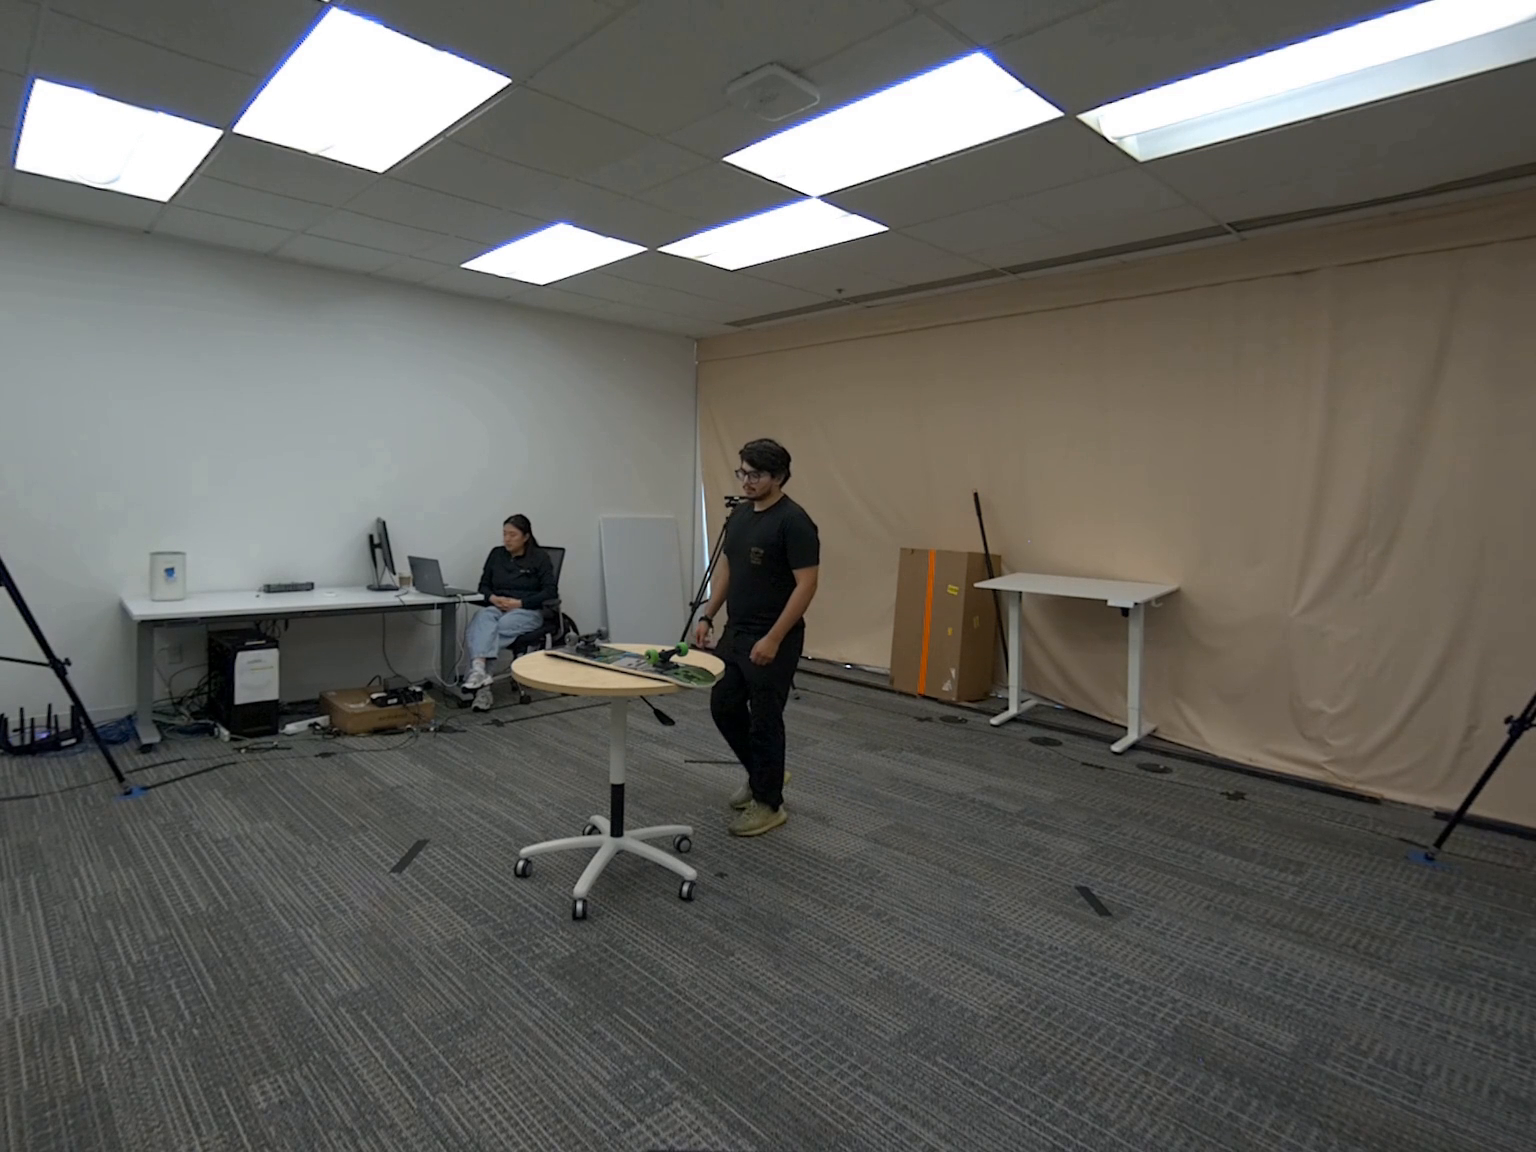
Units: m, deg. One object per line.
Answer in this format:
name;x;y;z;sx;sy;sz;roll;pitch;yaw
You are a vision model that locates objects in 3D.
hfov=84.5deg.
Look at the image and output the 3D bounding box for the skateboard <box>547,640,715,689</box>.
skateboard;-0.526;0.279;3.006;0.806;0.110;0.189;7;6;39
